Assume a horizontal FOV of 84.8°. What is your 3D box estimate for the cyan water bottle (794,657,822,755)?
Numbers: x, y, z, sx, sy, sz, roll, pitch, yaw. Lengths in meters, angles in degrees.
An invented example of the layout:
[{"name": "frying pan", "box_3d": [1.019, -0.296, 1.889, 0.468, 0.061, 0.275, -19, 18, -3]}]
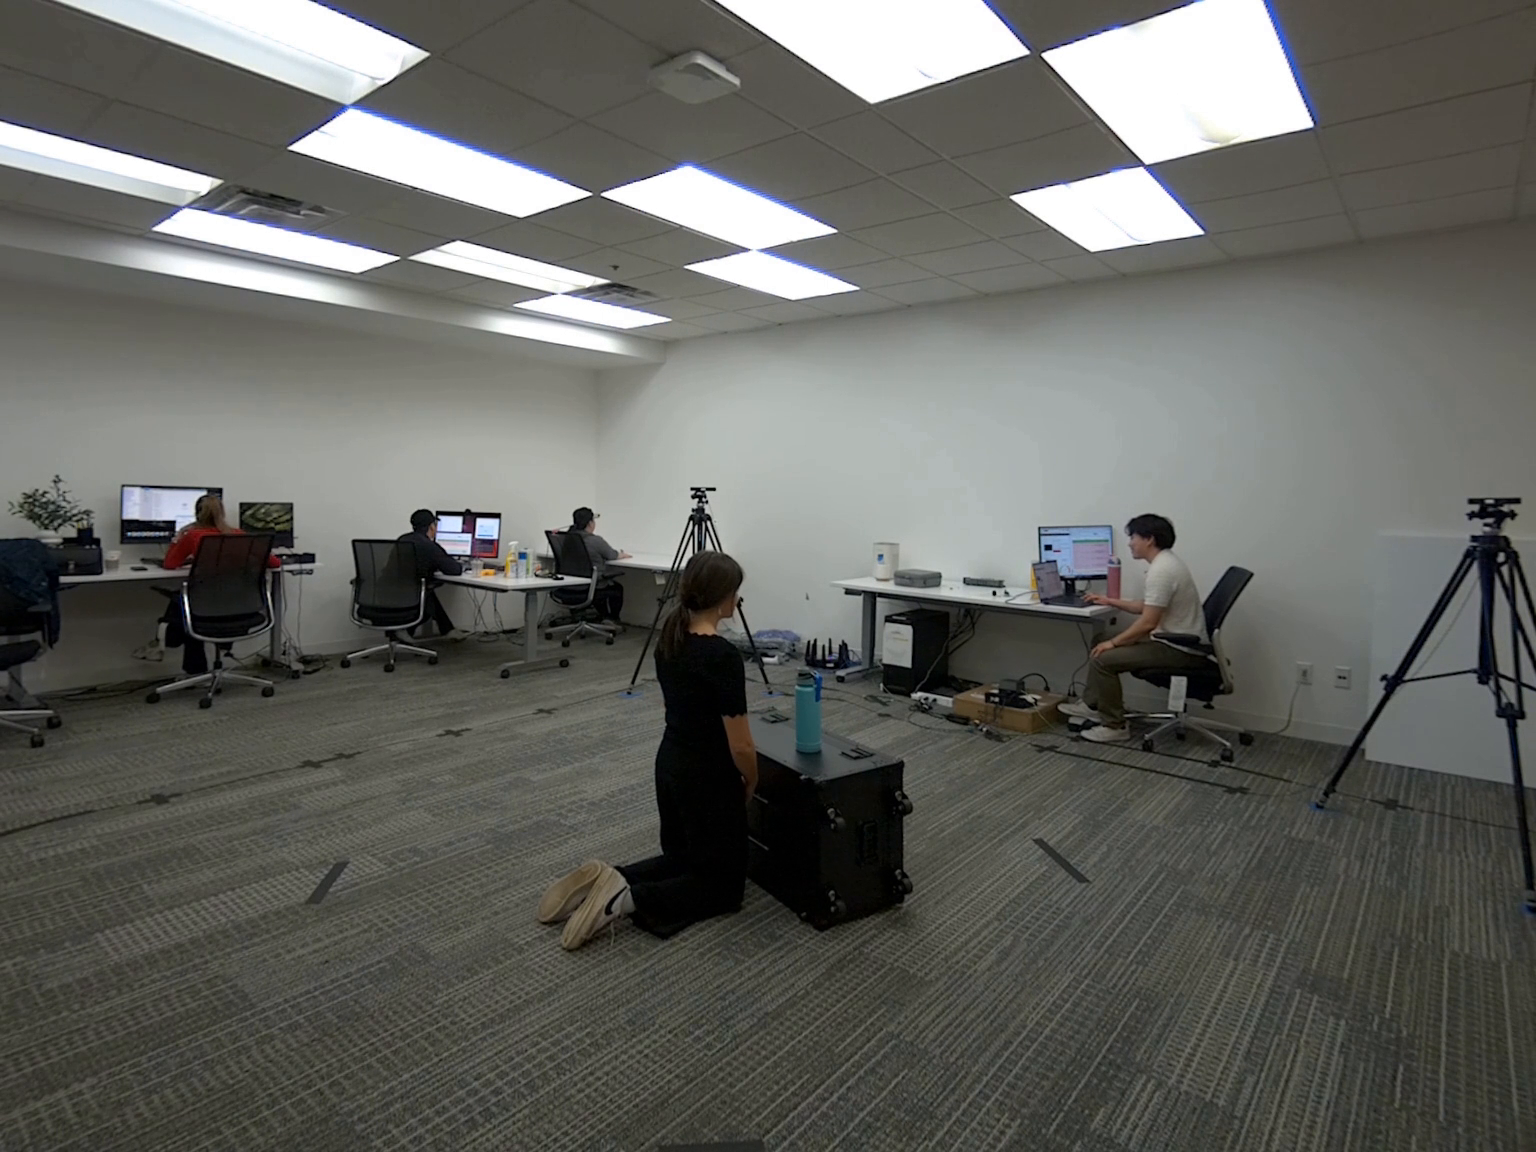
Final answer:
[{"name": "cyan water bottle", "box_3d": [0.131, 0.464, 2.953, 0.092, 0.283, 0.093, 1, 3, -2]}]
